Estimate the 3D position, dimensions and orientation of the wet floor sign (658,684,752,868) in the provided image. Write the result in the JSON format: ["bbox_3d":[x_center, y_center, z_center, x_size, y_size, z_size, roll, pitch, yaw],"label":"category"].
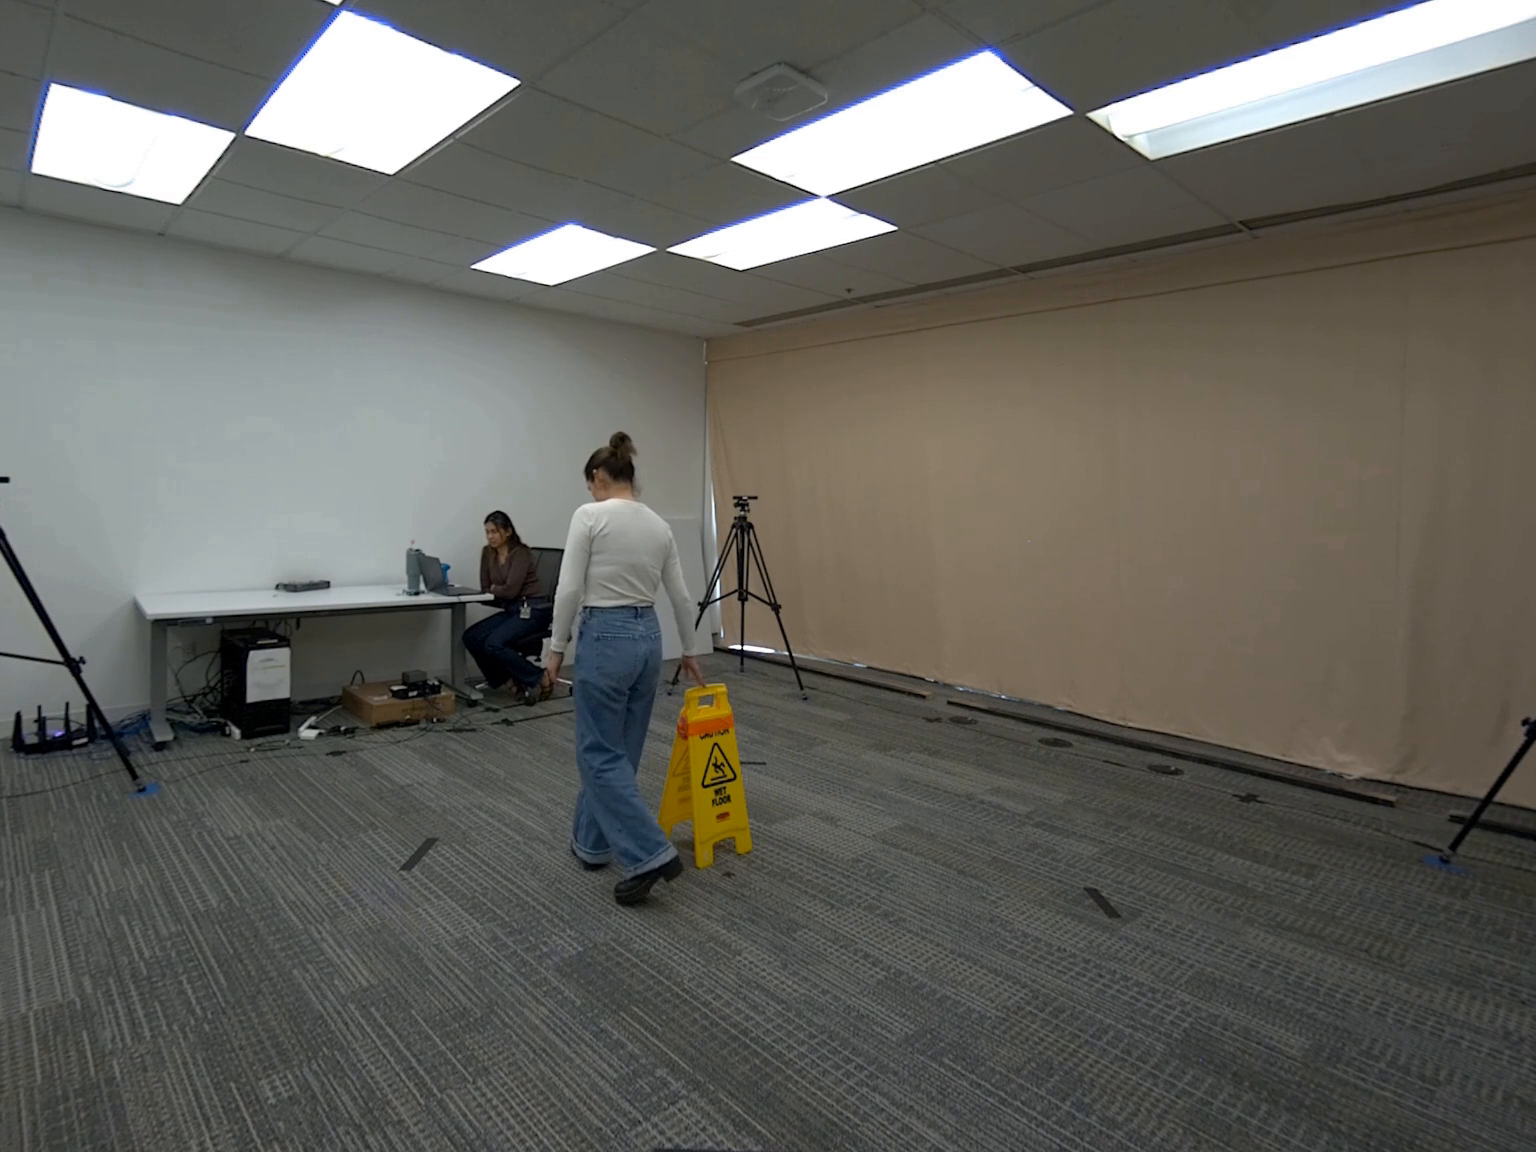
[{"bbox_3d":[-0.261,0.756,3.326,0.276,0.645,0.297,-1,3,-44],"label":"wet floor sign"}]
